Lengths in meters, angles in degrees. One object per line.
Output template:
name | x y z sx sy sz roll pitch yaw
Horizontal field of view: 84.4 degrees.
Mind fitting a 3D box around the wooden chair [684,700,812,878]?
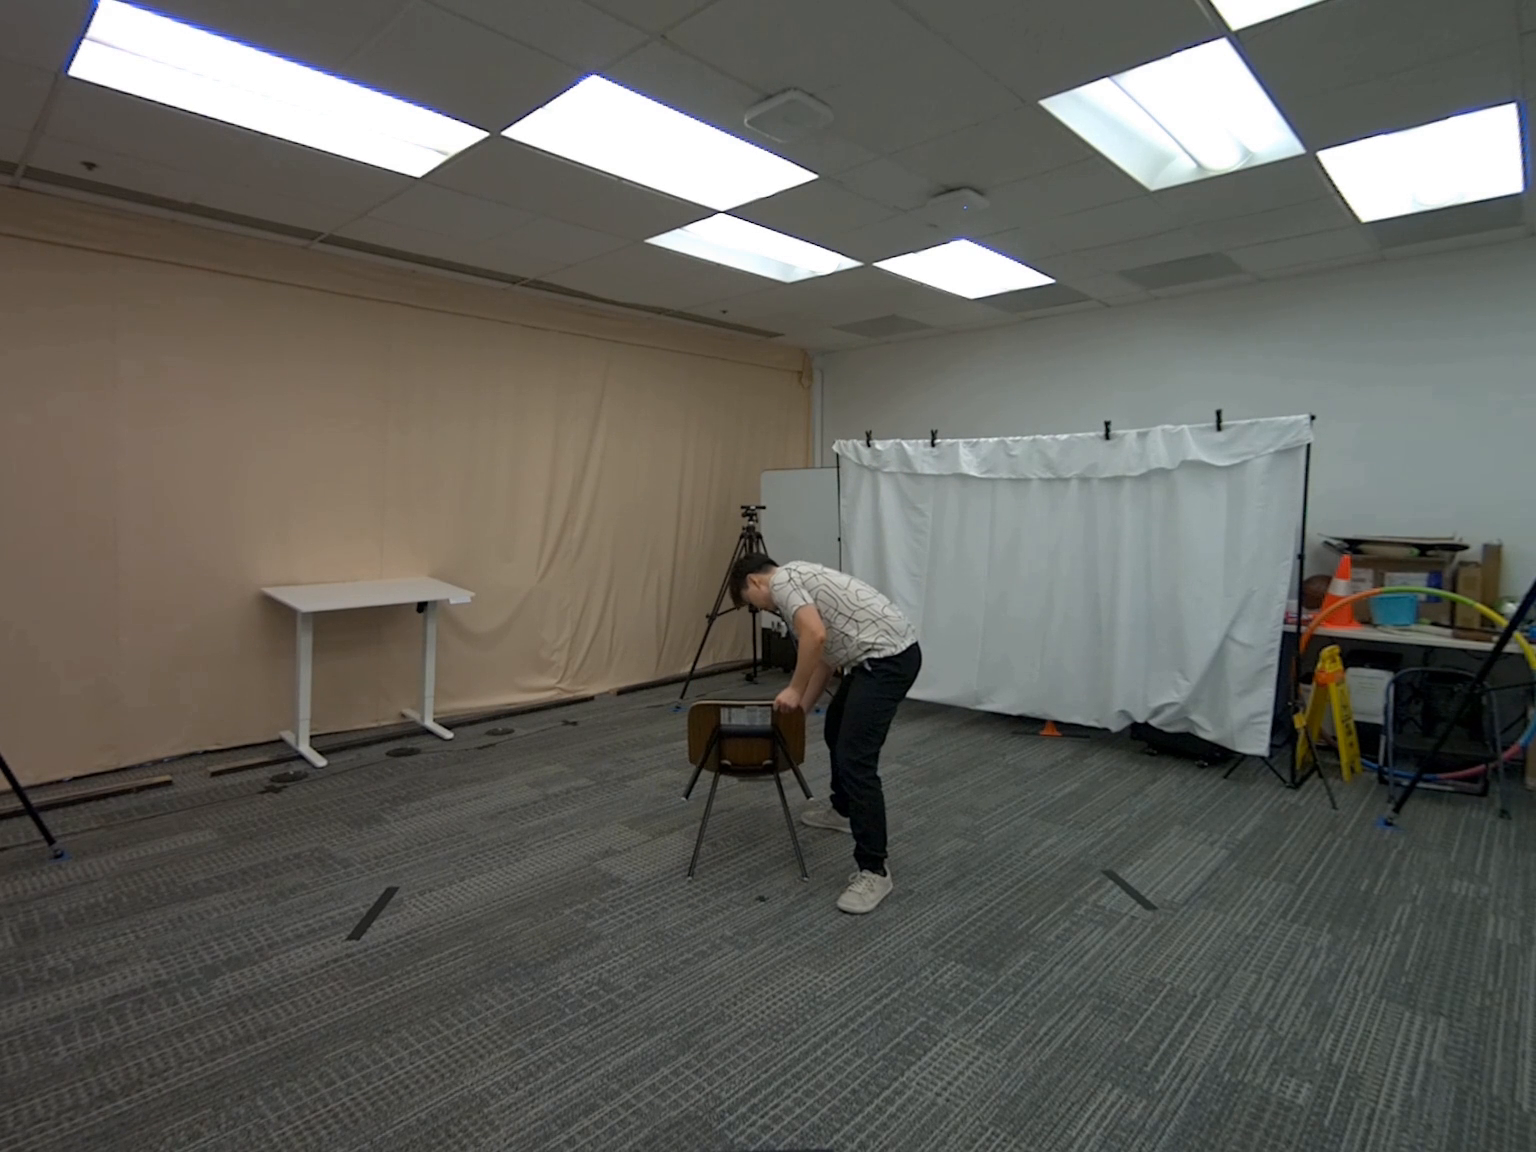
wooden chair | -0.082 0.698 3.354 0.478 0.514 0.891 -1 30 -1
